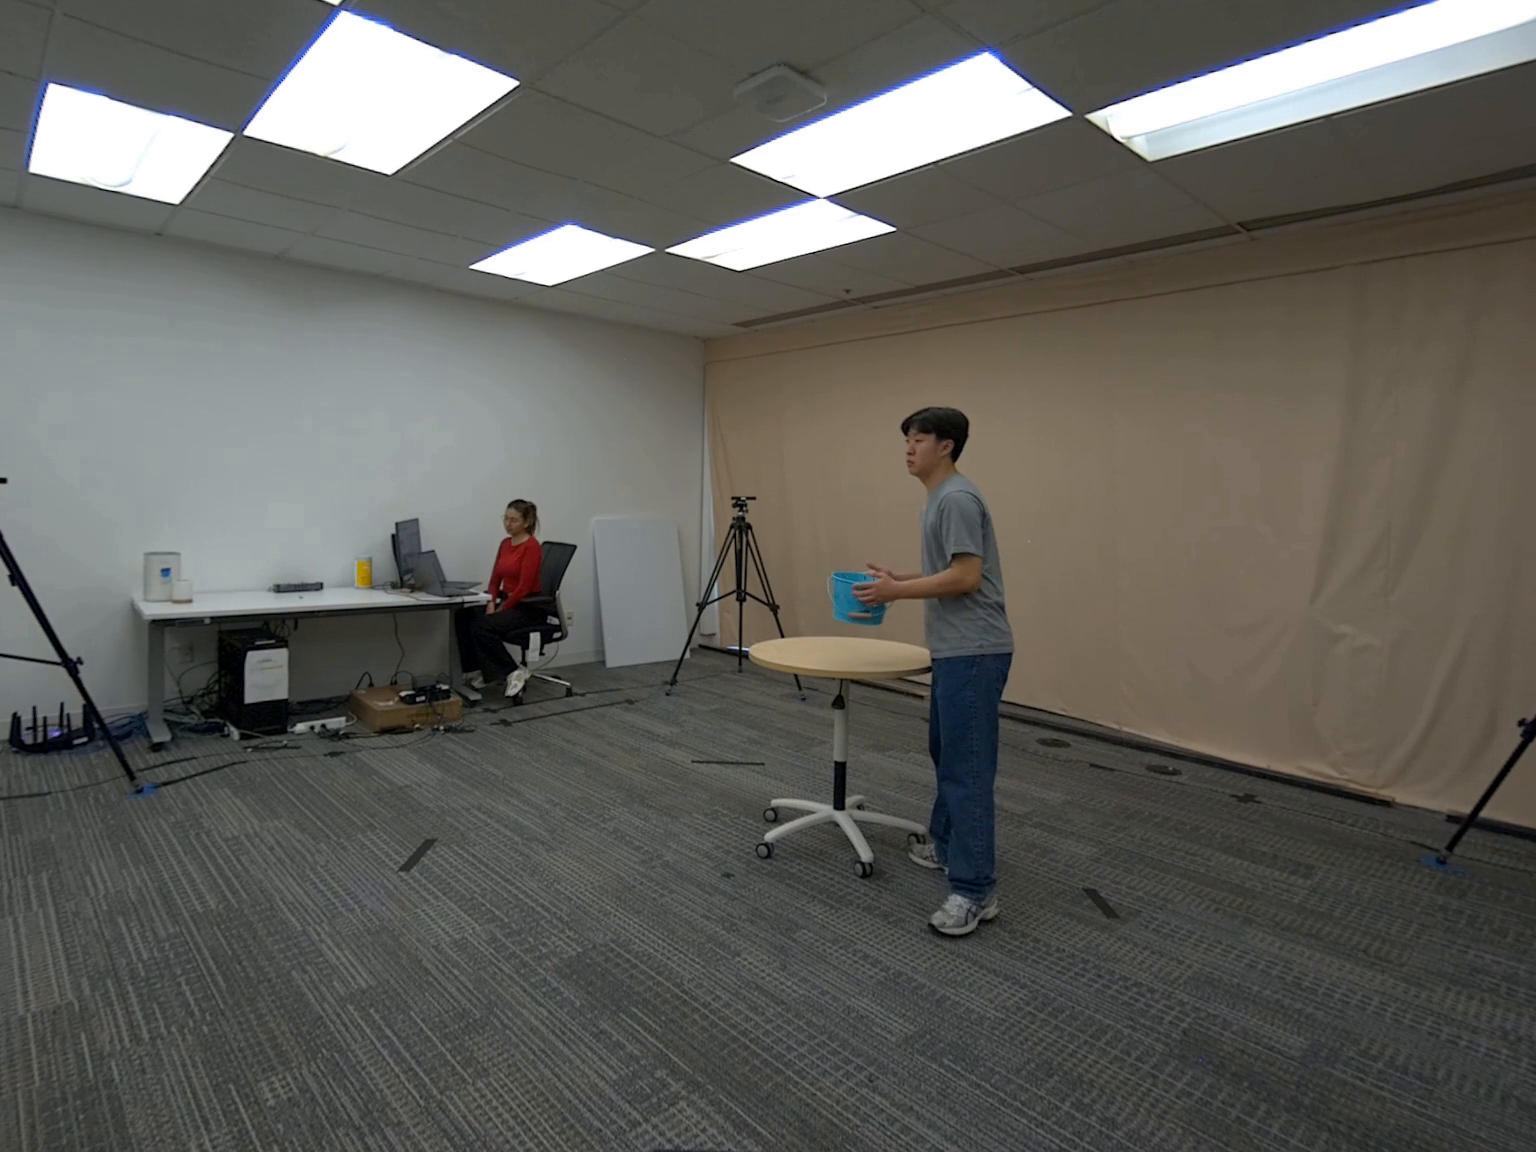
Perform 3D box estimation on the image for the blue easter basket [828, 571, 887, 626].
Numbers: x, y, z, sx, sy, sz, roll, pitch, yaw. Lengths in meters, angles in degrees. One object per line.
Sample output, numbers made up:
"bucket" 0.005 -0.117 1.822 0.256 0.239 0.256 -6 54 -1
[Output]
"blue easter basket" 0.333 0.084 3.060 0.243 0.155 0.245 6 10 -2
